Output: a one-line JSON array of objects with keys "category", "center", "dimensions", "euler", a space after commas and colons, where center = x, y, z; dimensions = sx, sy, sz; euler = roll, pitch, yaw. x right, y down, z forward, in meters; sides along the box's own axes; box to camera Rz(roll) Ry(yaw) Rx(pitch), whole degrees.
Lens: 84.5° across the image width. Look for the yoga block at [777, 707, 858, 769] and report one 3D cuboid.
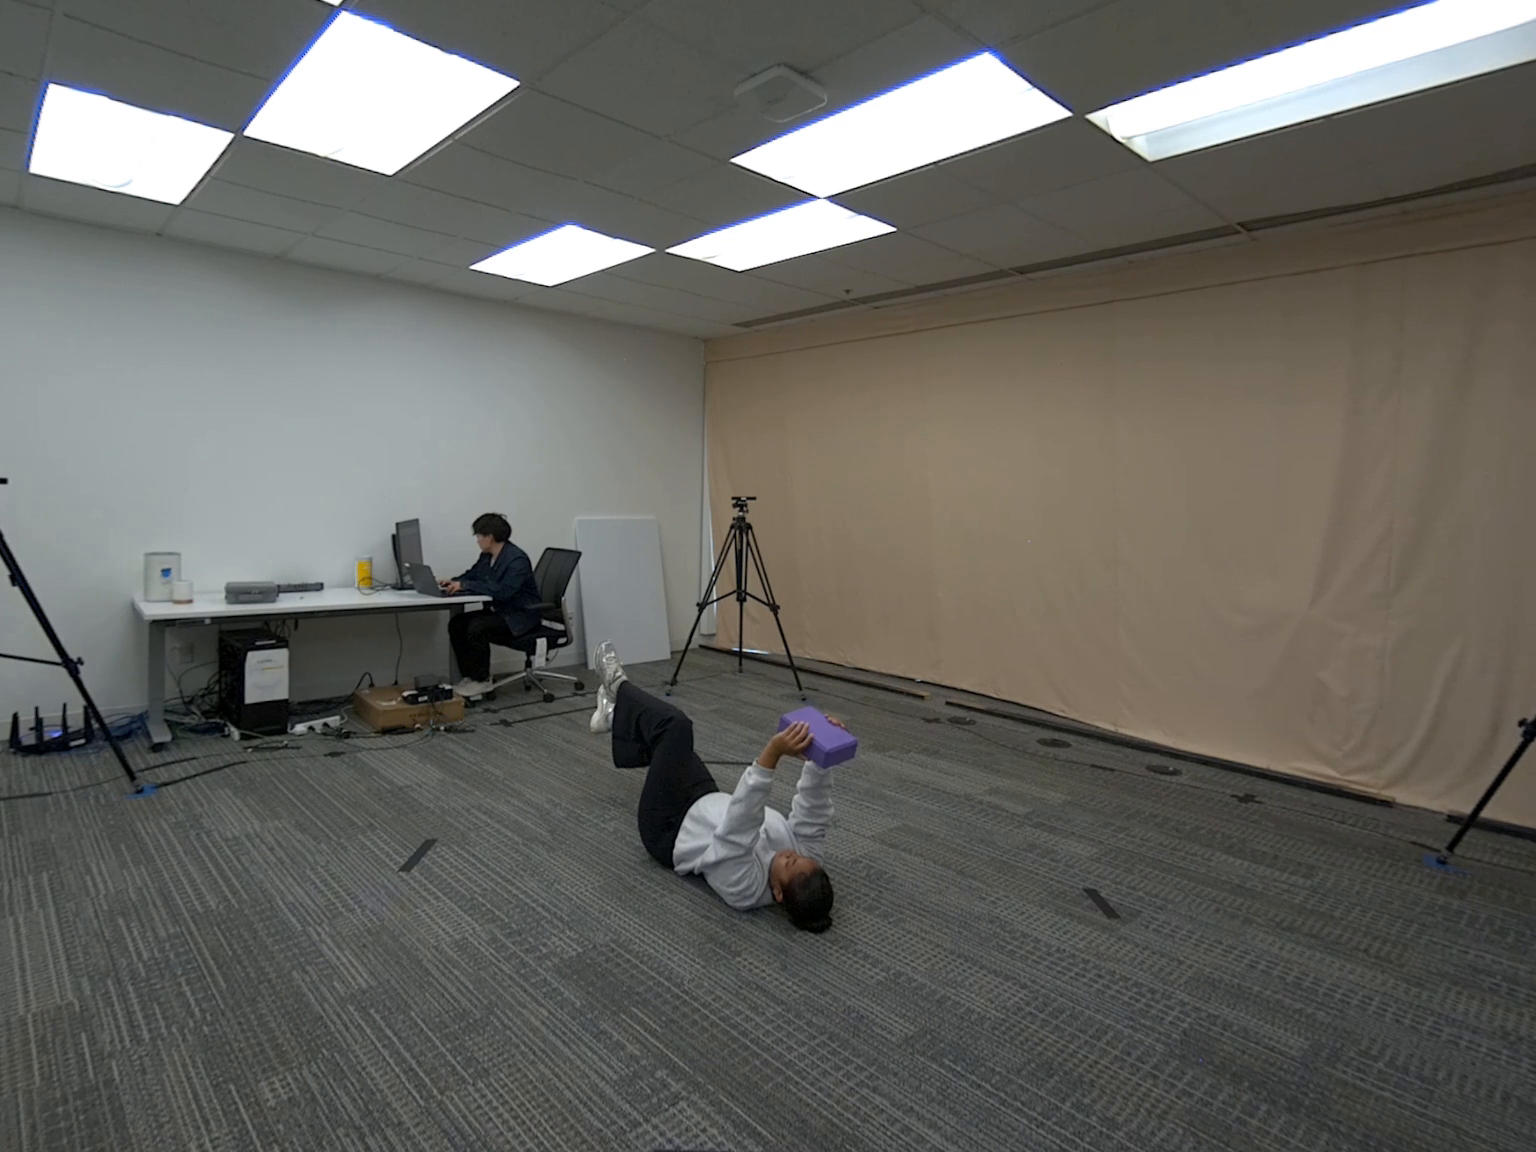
[{"category": "yoga block", "center": [0.159, 0.526, 2.731], "dimensions": [0.146, 0.075, 0.236], "euler": [-10, 27, -40]}]
